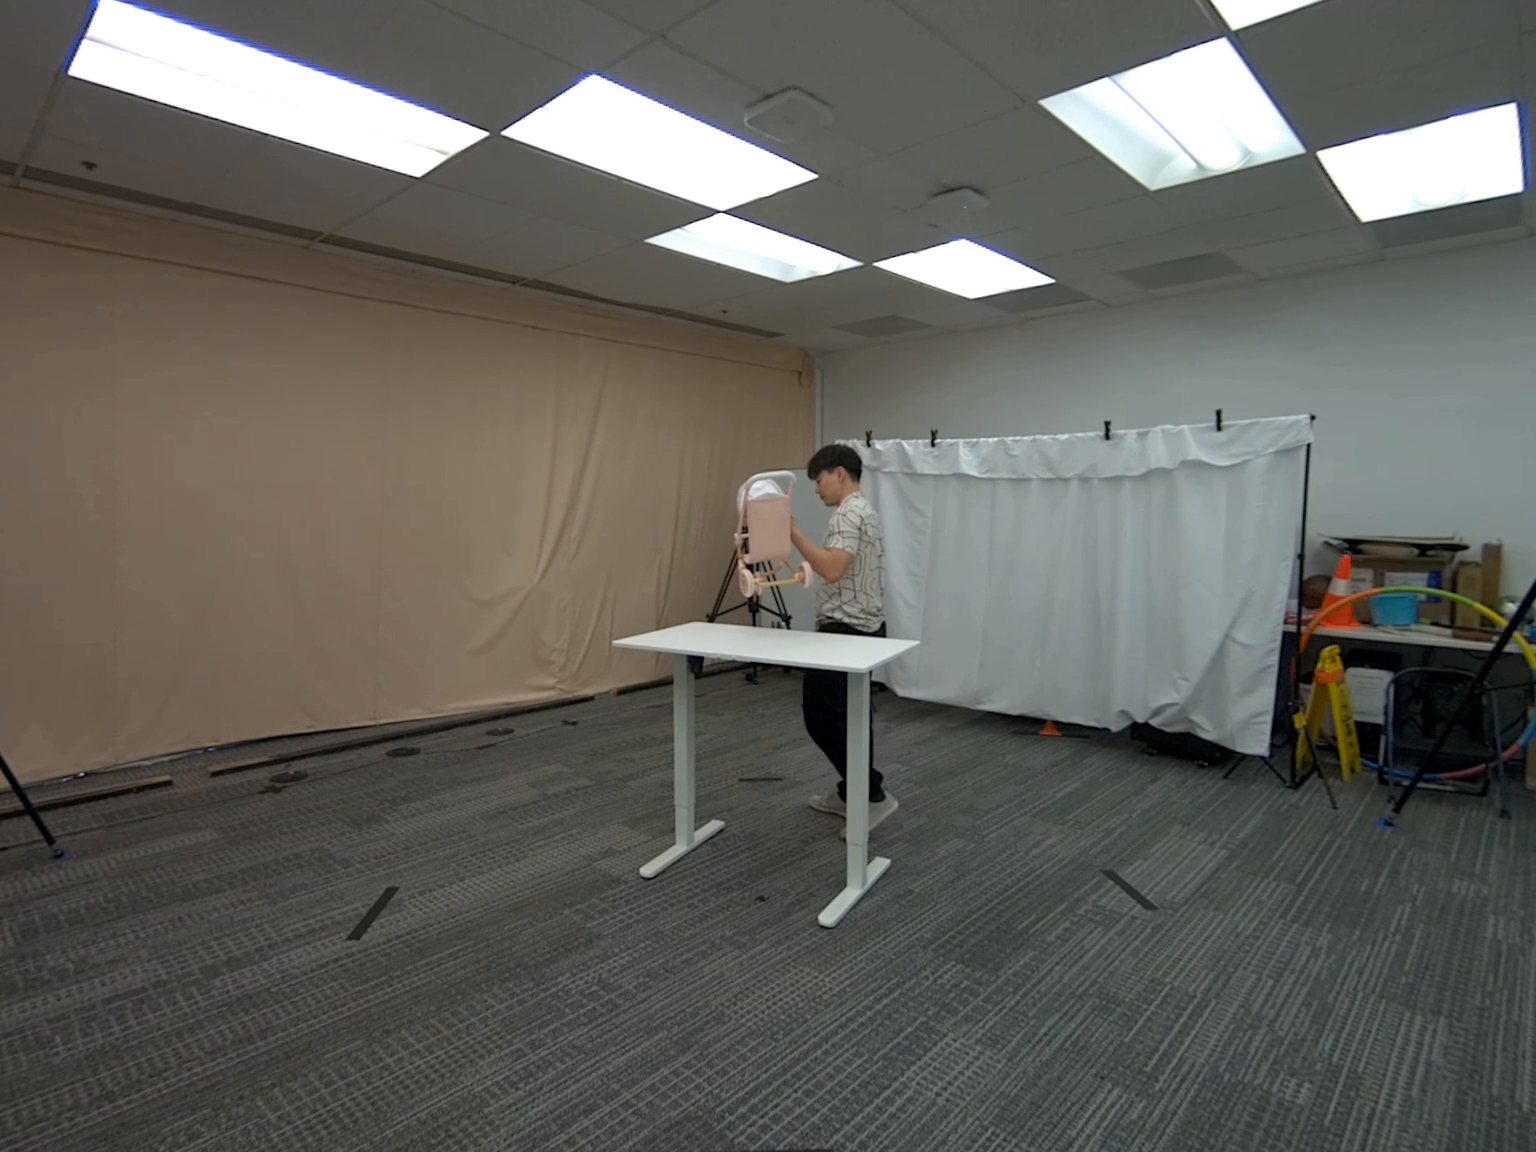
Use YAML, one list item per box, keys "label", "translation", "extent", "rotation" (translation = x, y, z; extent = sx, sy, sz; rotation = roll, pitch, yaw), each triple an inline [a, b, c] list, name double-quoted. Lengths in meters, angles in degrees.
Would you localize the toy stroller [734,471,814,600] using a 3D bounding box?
- label: "toy stroller"
  translation: [-0.006, -0.157, 3.426]
  extent: [0.278, 0.531, 0.348]
  rotation: [-7, 9, -13]
